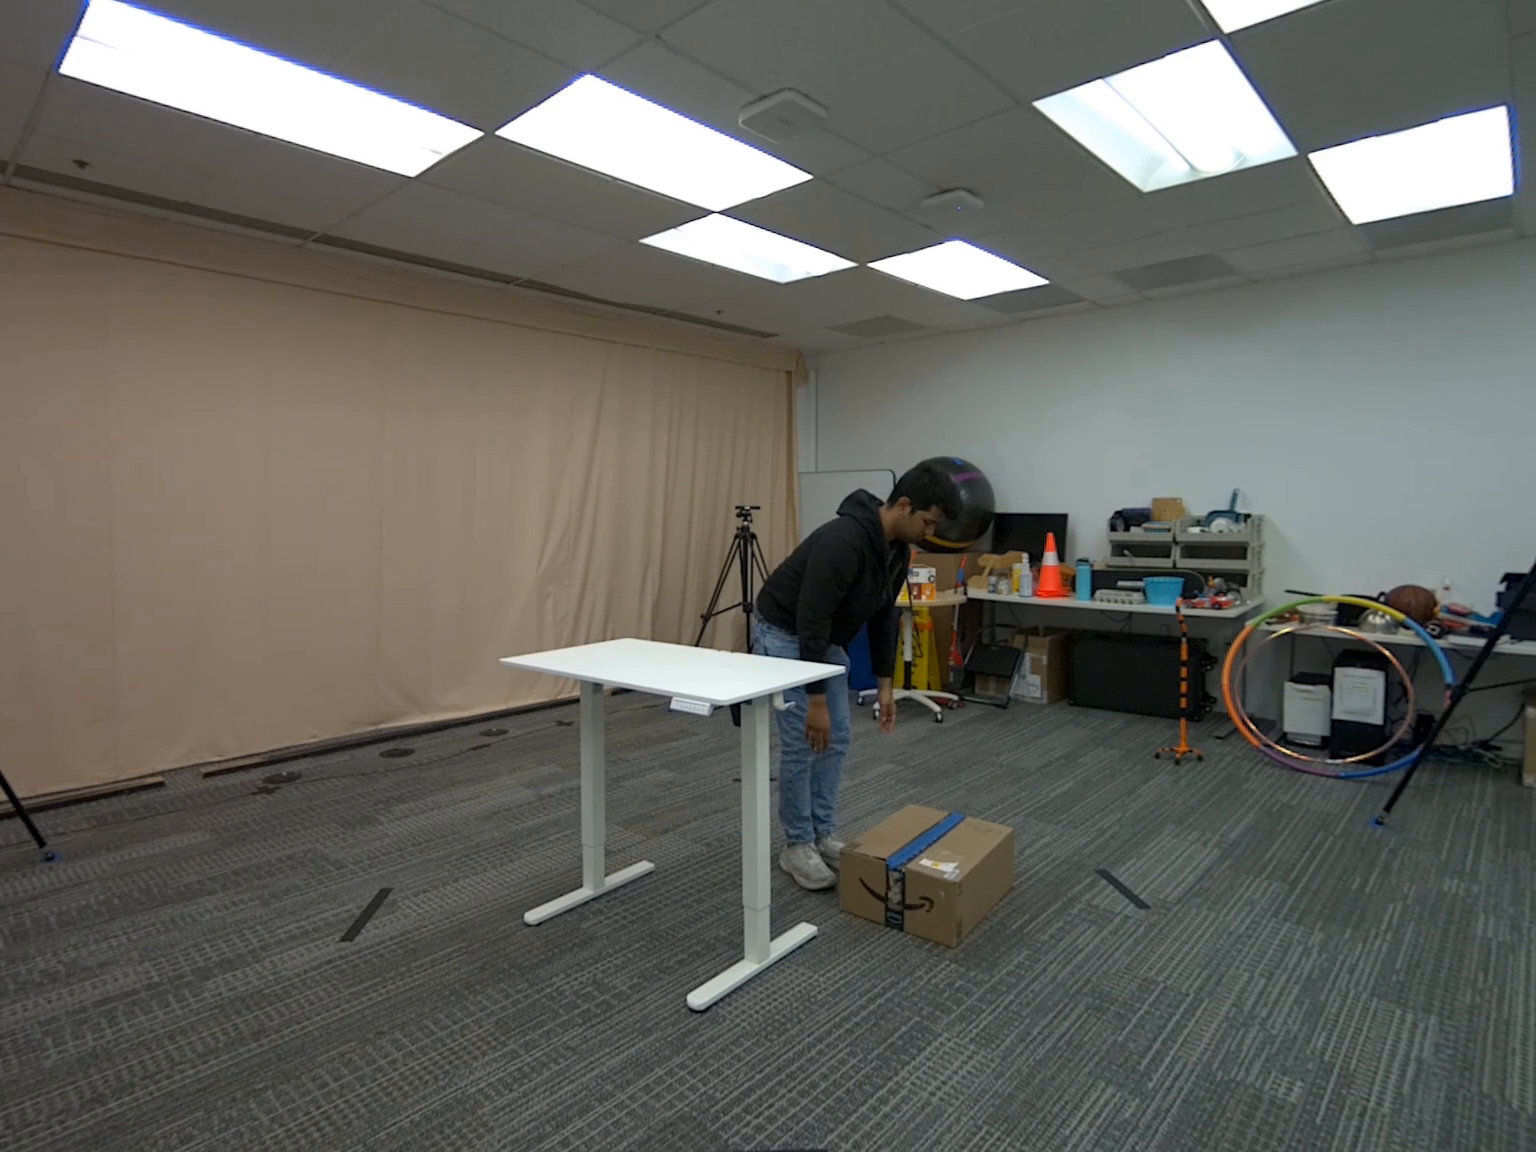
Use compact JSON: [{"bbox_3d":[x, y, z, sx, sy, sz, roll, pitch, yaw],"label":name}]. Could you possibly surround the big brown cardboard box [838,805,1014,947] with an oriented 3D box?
[{"bbox_3d":[0.575,1.034,2.976,0.431,0.233,0.572,3,5,35],"label":"big brown cardboard box"}]
